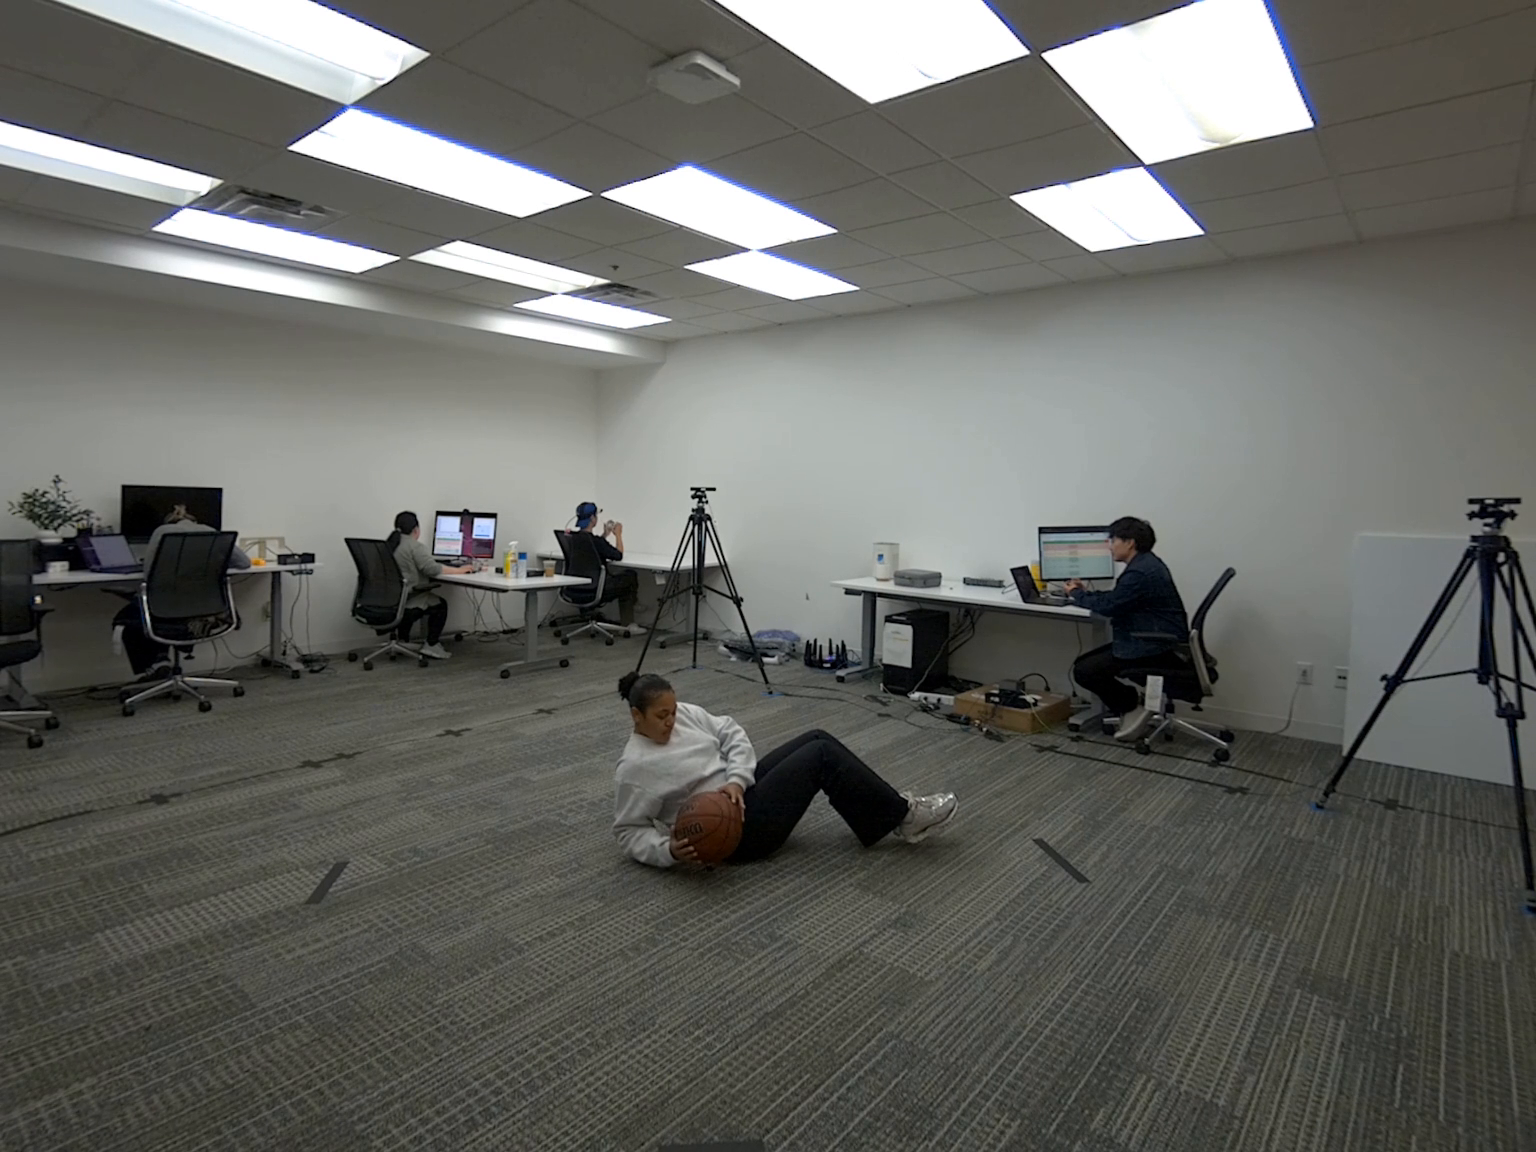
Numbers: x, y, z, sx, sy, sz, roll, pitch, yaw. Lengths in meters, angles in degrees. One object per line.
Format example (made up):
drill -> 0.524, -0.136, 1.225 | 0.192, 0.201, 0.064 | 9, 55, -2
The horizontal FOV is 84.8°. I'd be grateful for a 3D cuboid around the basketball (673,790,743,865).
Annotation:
basketball -> -0.211, 0.866, 3.016 | 0.235, 0.235, 0.237 | 1, 4, -2
